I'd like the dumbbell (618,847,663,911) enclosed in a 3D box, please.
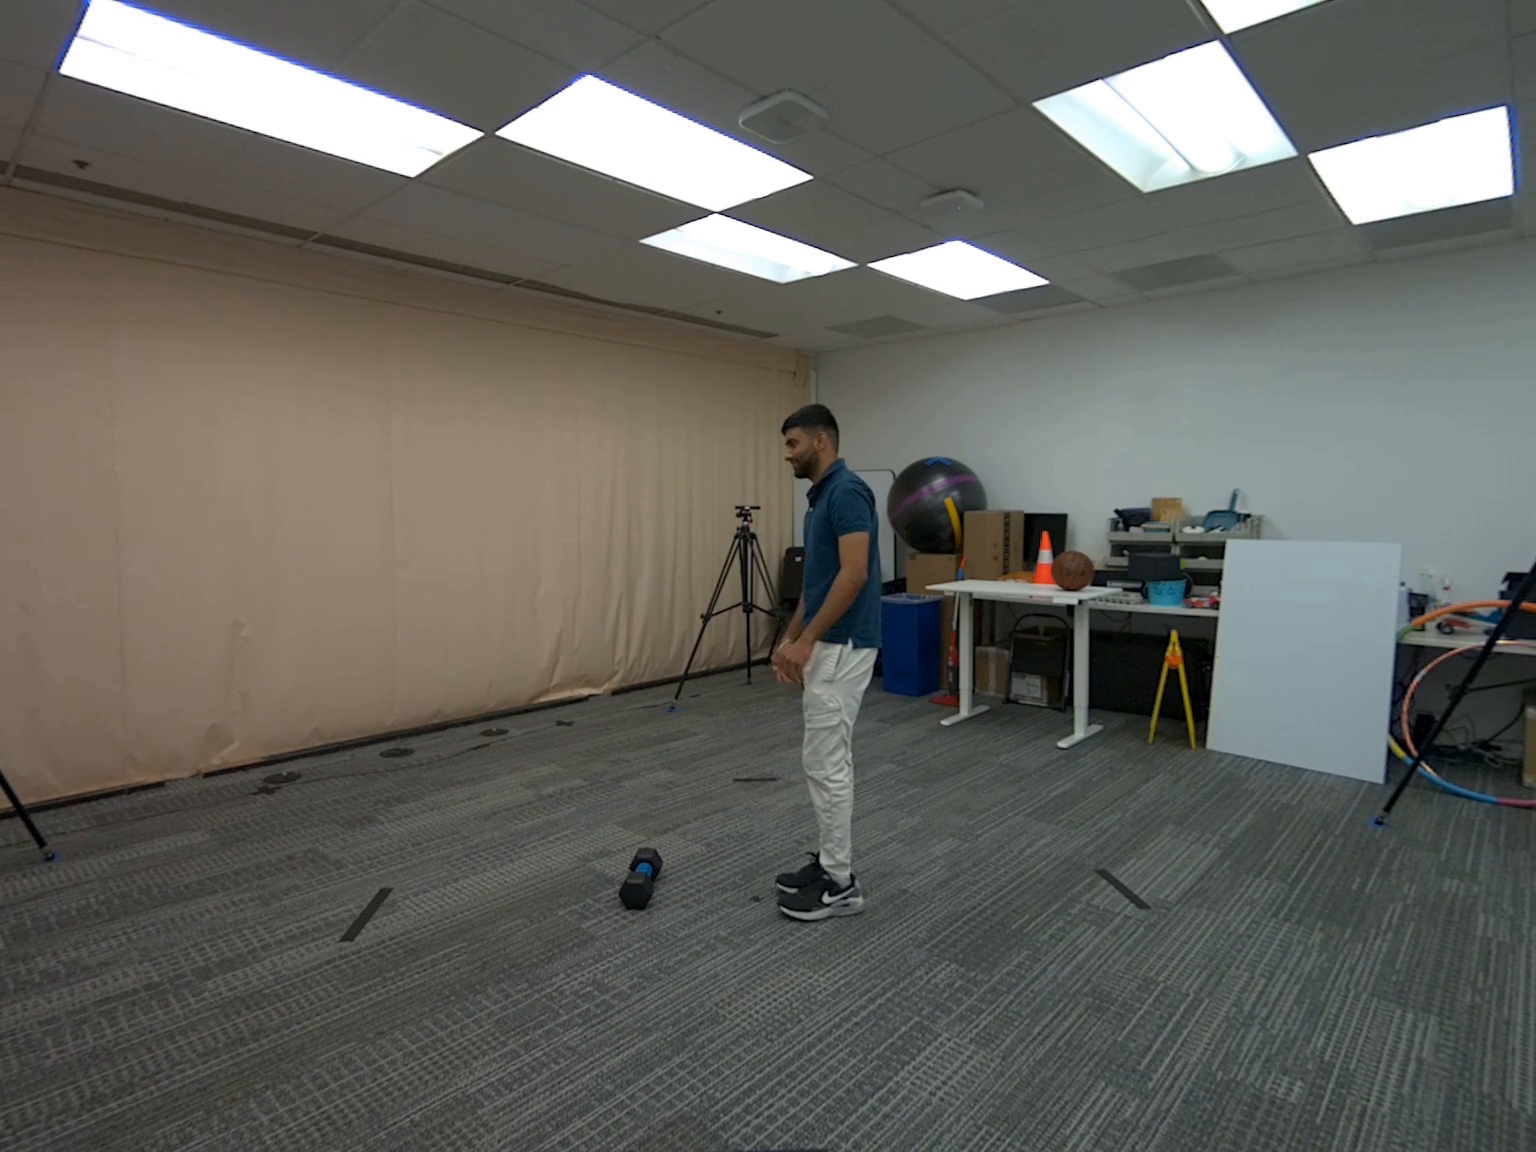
[{"bbox_3d":[-0.454,1.091,3.042,0.109,0.122,0.294,-31,4,3],"label":"dumbbell"}]
